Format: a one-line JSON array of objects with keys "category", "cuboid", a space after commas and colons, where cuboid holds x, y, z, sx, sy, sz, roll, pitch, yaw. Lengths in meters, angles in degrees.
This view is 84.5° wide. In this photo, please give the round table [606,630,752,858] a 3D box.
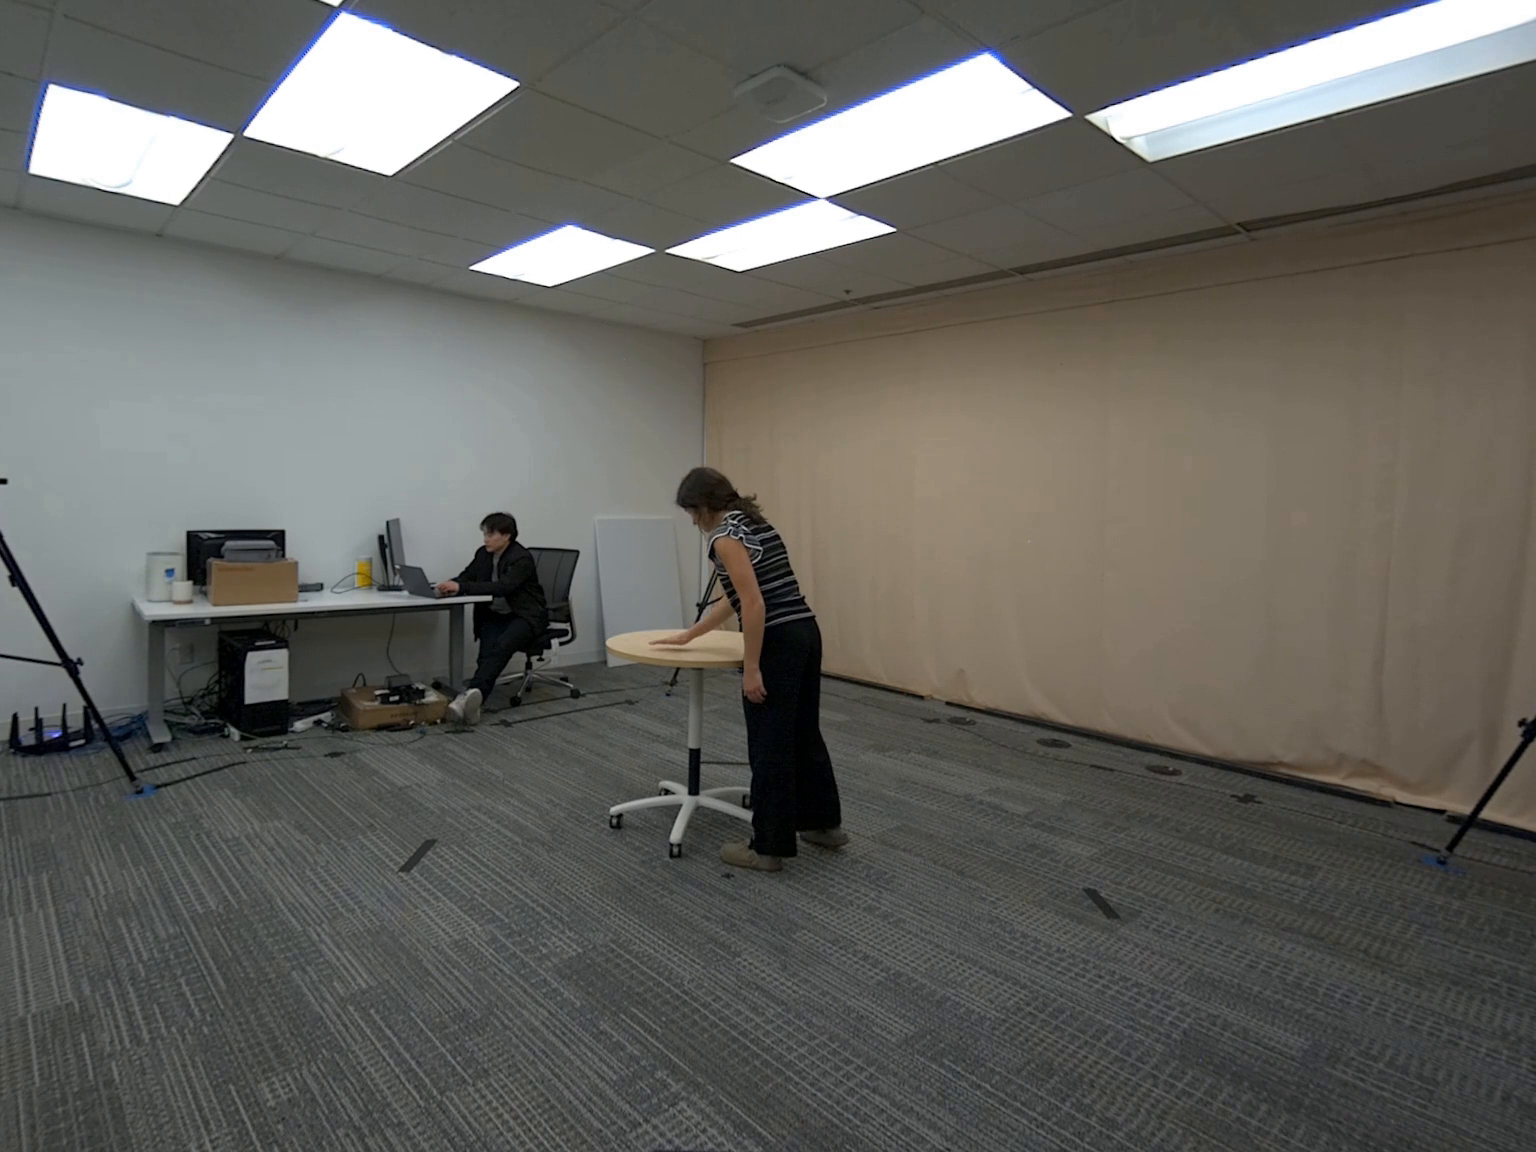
[{"category": "round table", "cuboid": [-0.323, 0.677, 3.552, 0.763, 0.792, 0.766, 2, 4, -1]}]
